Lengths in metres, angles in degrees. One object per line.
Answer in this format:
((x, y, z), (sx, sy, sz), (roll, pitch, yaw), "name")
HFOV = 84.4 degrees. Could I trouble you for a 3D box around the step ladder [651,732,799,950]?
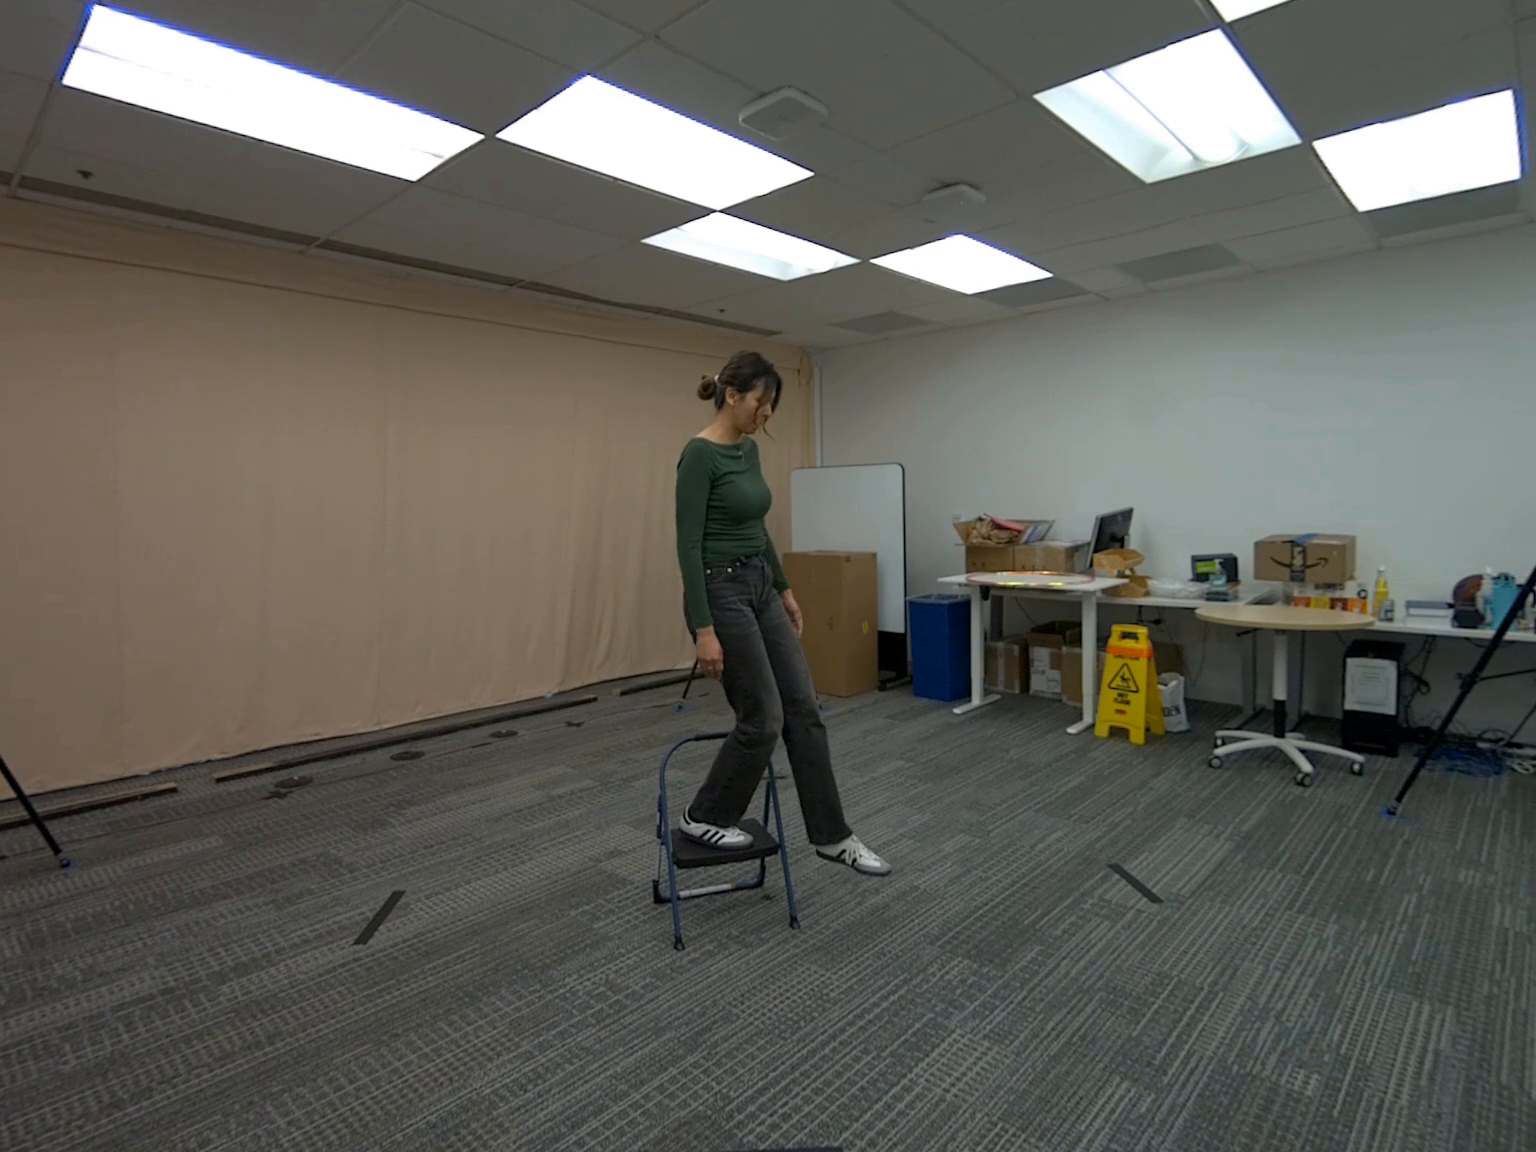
((-0.154, 0.853, 2.856), (0.422, 0.605, 0.357), (-2, 3, -19), "step ladder")
